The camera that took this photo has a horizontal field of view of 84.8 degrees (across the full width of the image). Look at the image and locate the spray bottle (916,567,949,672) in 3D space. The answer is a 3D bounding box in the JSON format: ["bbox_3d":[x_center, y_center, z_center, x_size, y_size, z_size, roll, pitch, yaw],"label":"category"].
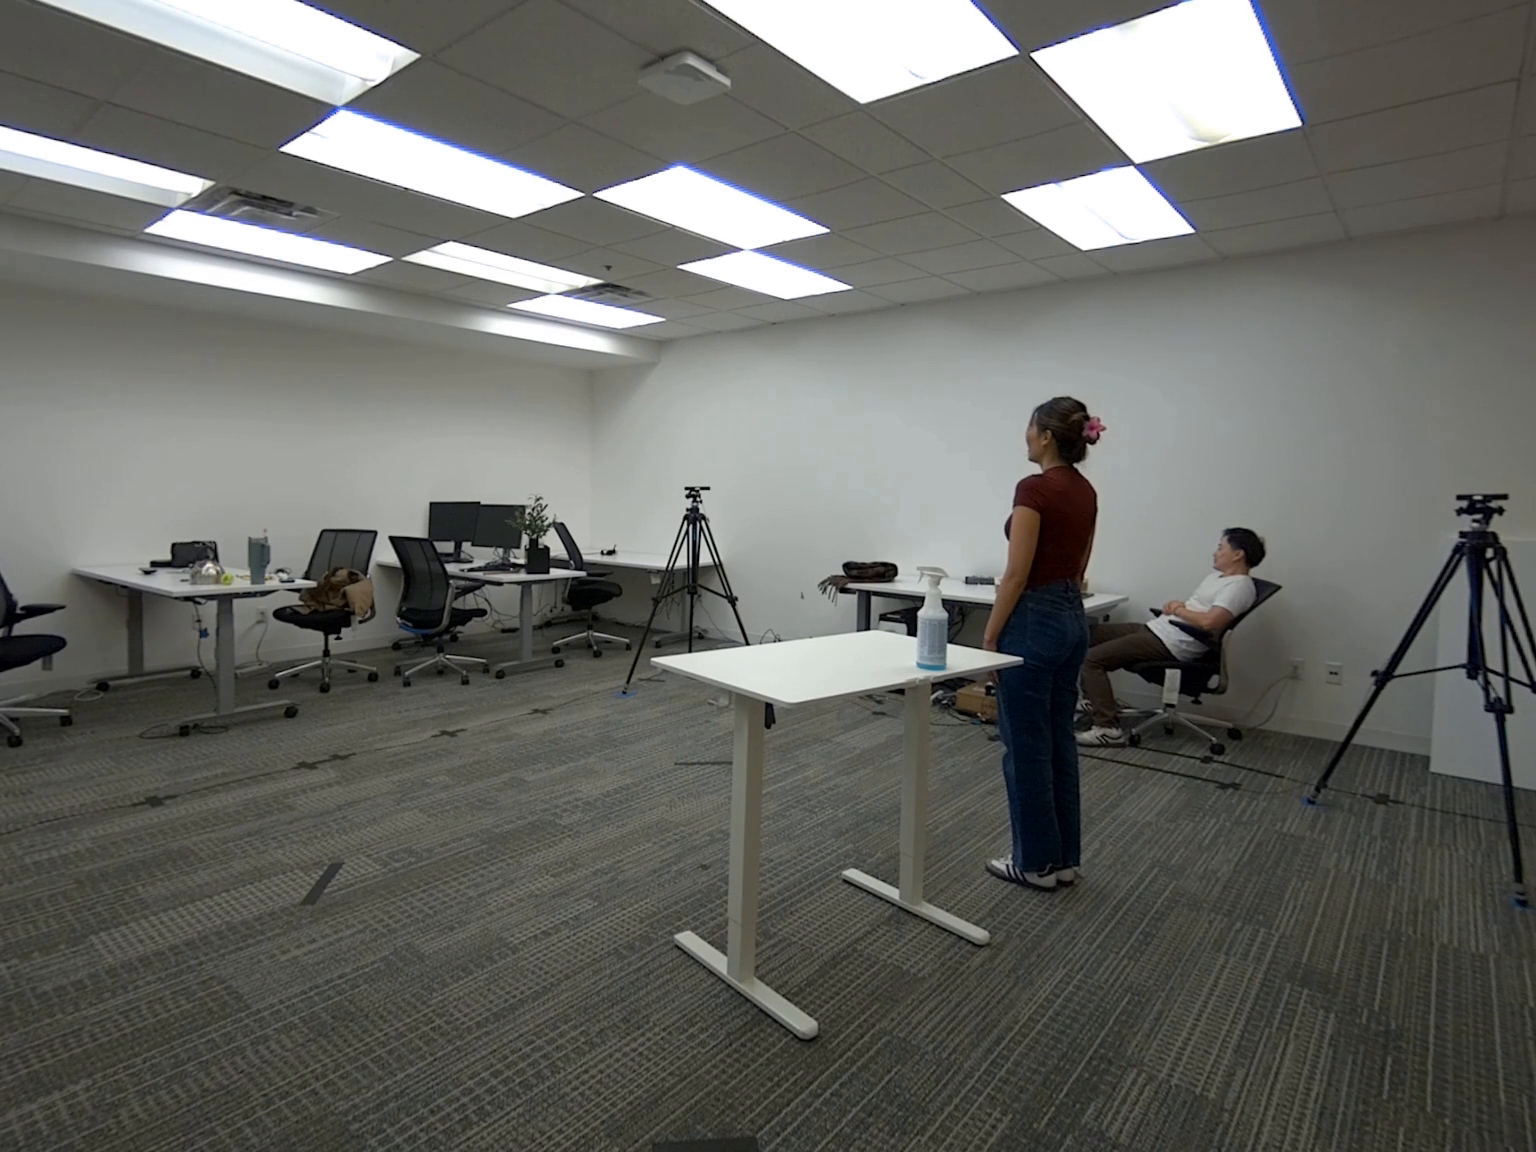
[{"bbox_3d":[0.474,0.119,2.464,0.092,0.297,0.085,1,2,30],"label":"spray bottle"}]
